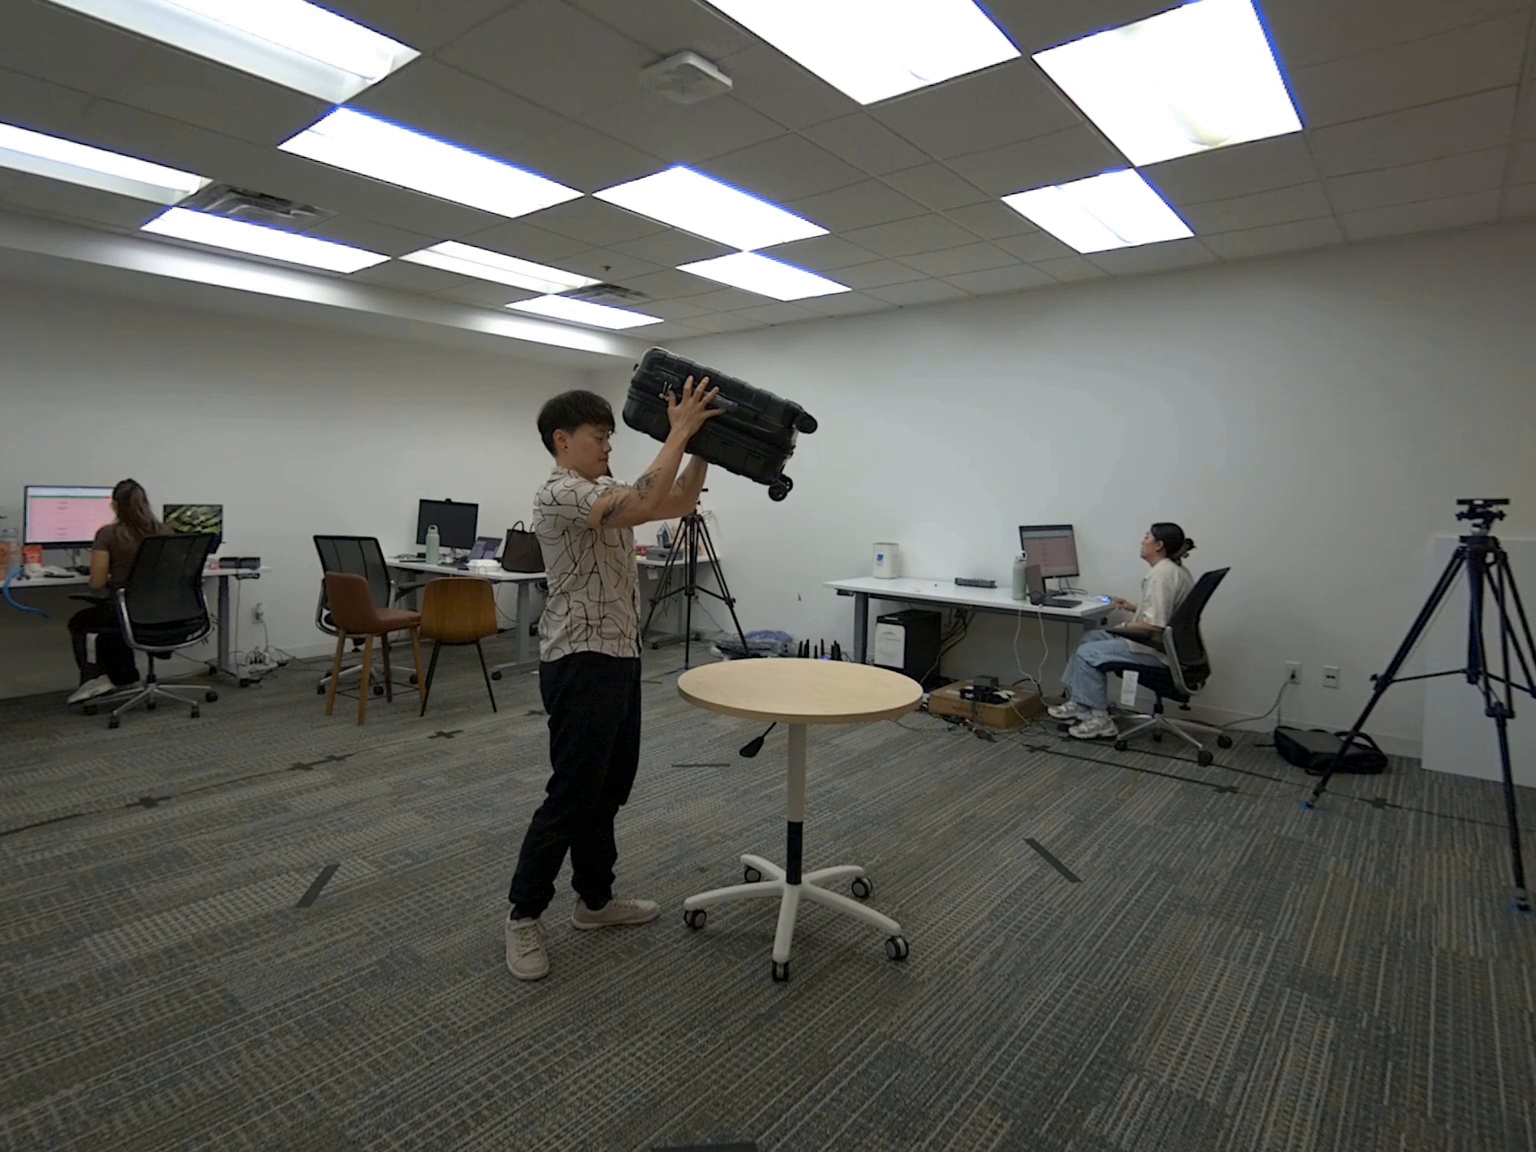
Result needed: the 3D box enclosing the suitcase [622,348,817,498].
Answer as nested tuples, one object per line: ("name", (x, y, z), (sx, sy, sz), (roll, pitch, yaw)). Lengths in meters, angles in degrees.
("suitcase", (-0.150, -0.480, 2.546), (0.553, 0.247, 0.374), (22, 6, 4))
